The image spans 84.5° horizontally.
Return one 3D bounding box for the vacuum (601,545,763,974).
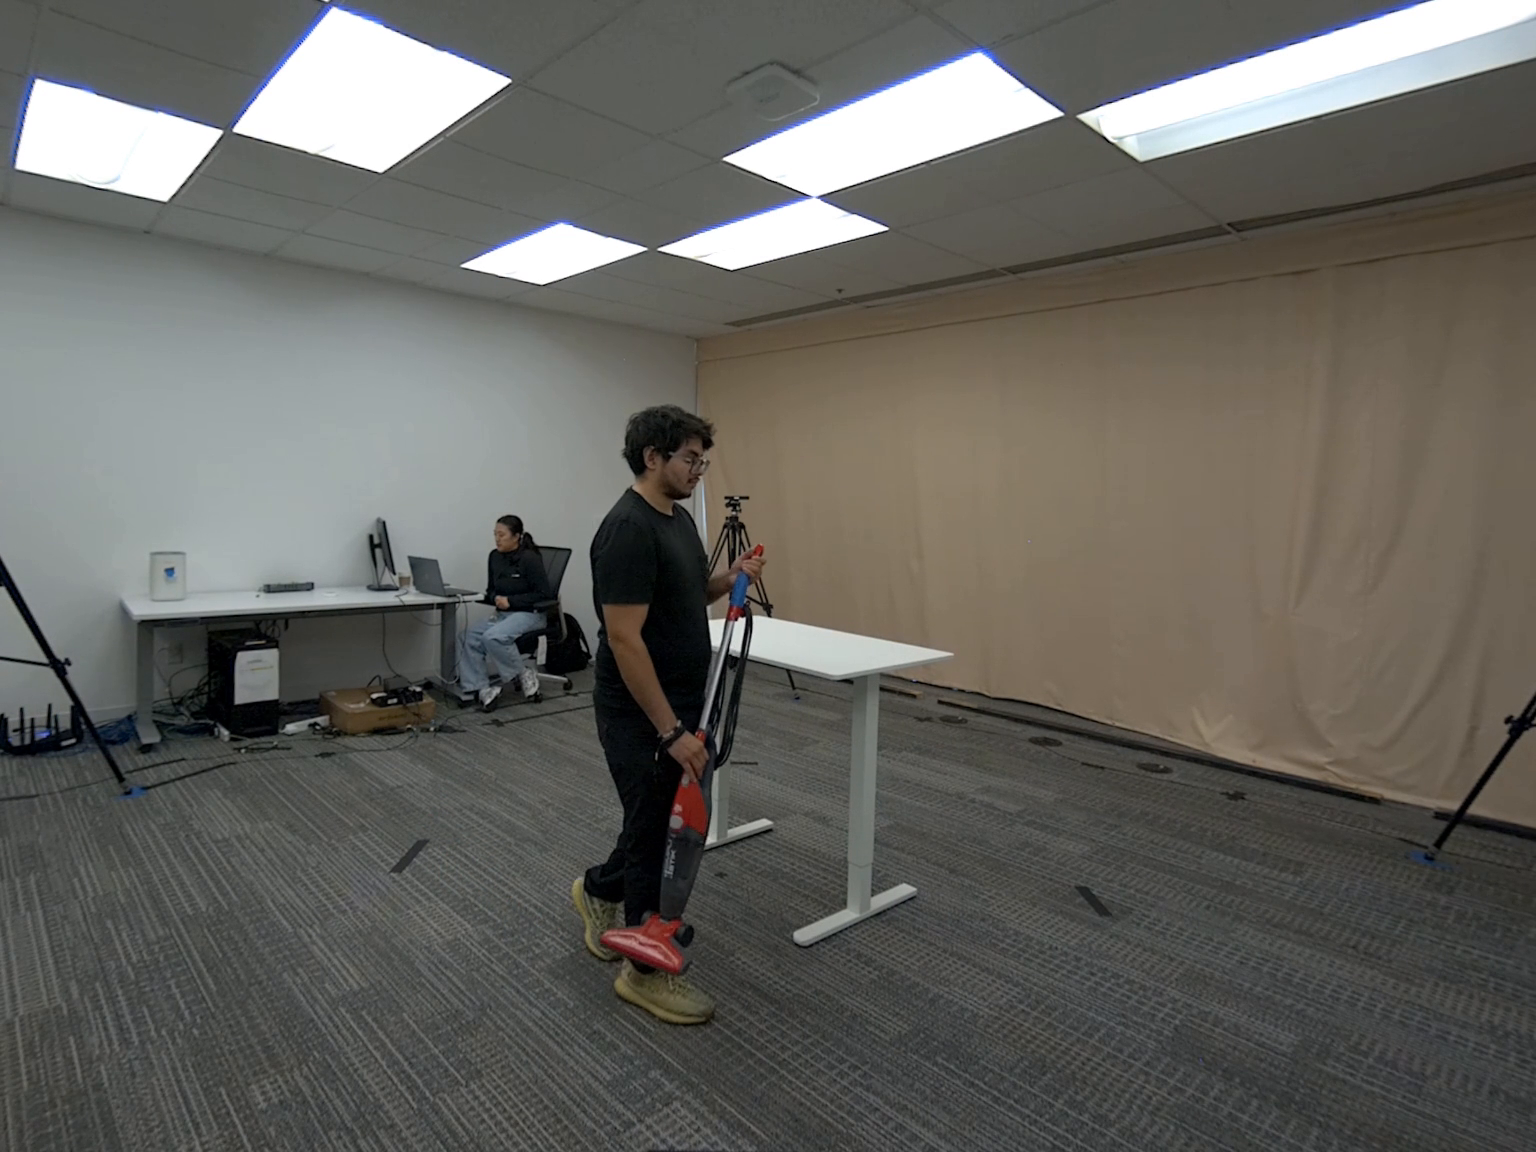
[{"bbox_3d":[-0.152,0.429,2.188,0.258,1.058,0.139,4,-20,32],"label":"vacuum"}]
